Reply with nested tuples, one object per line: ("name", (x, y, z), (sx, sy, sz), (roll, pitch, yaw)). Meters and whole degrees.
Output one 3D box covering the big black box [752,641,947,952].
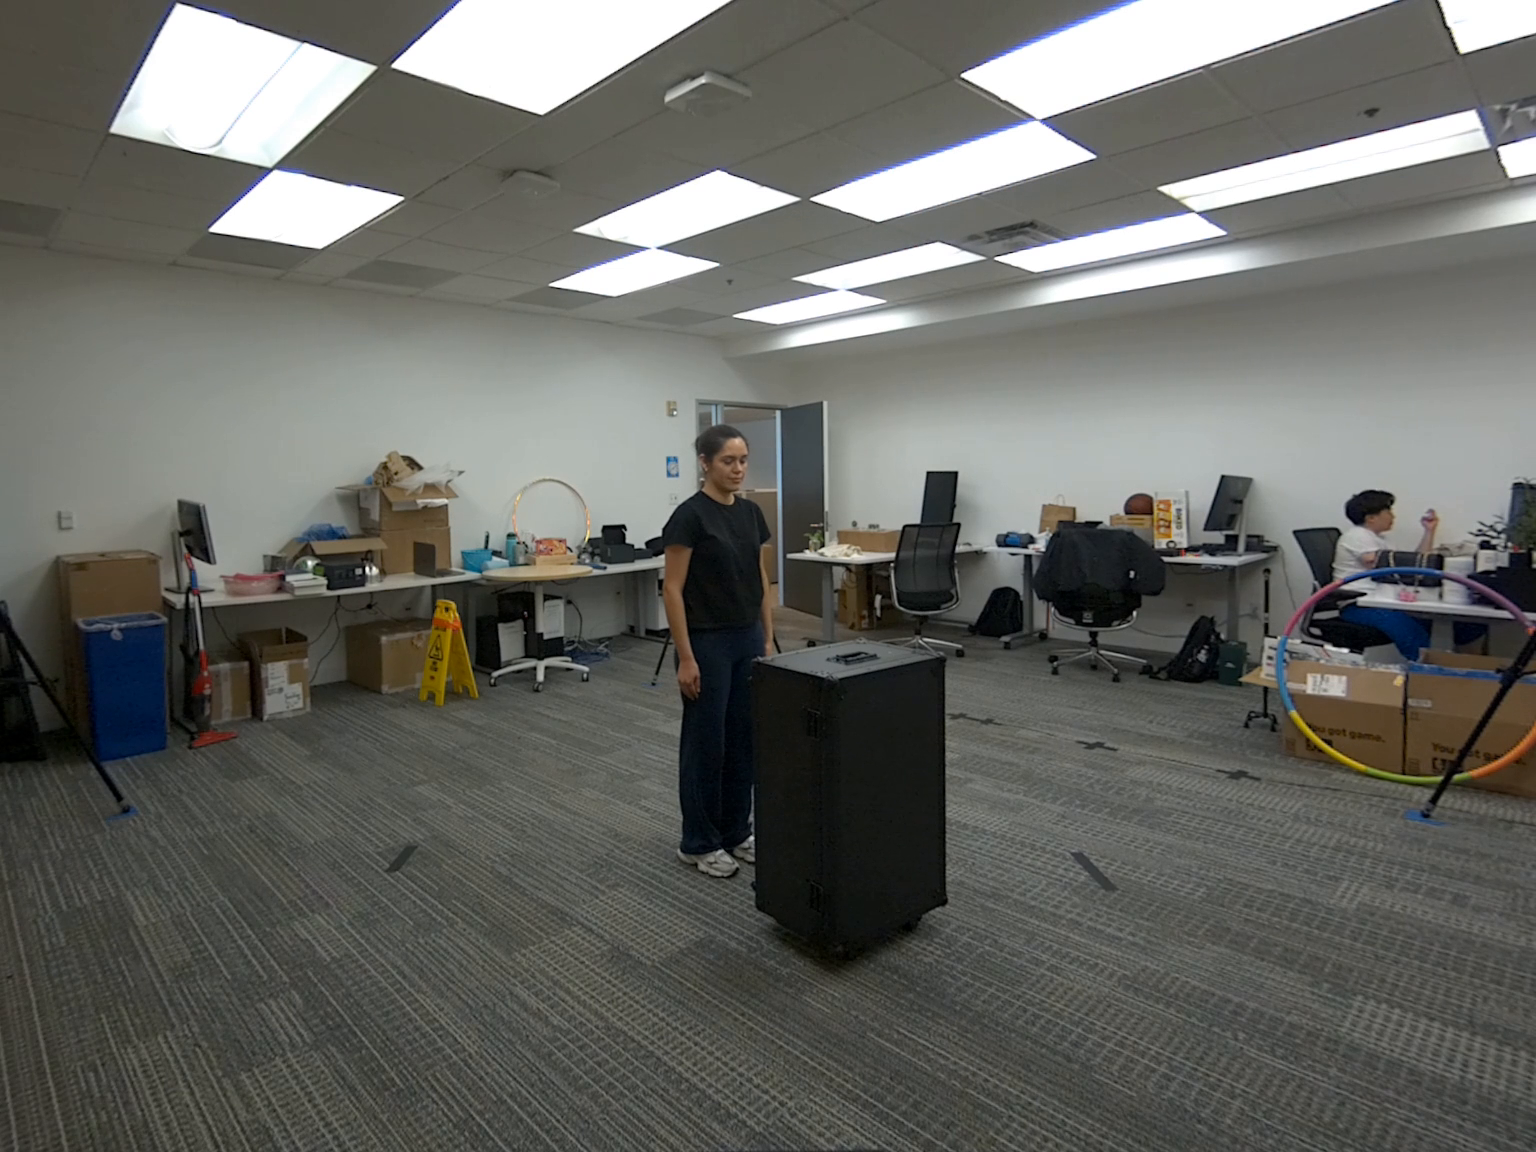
("big black box", (0.246, 0.609, 2.639), (0.508, 0.858, 0.408), (-5, 5, -38))
